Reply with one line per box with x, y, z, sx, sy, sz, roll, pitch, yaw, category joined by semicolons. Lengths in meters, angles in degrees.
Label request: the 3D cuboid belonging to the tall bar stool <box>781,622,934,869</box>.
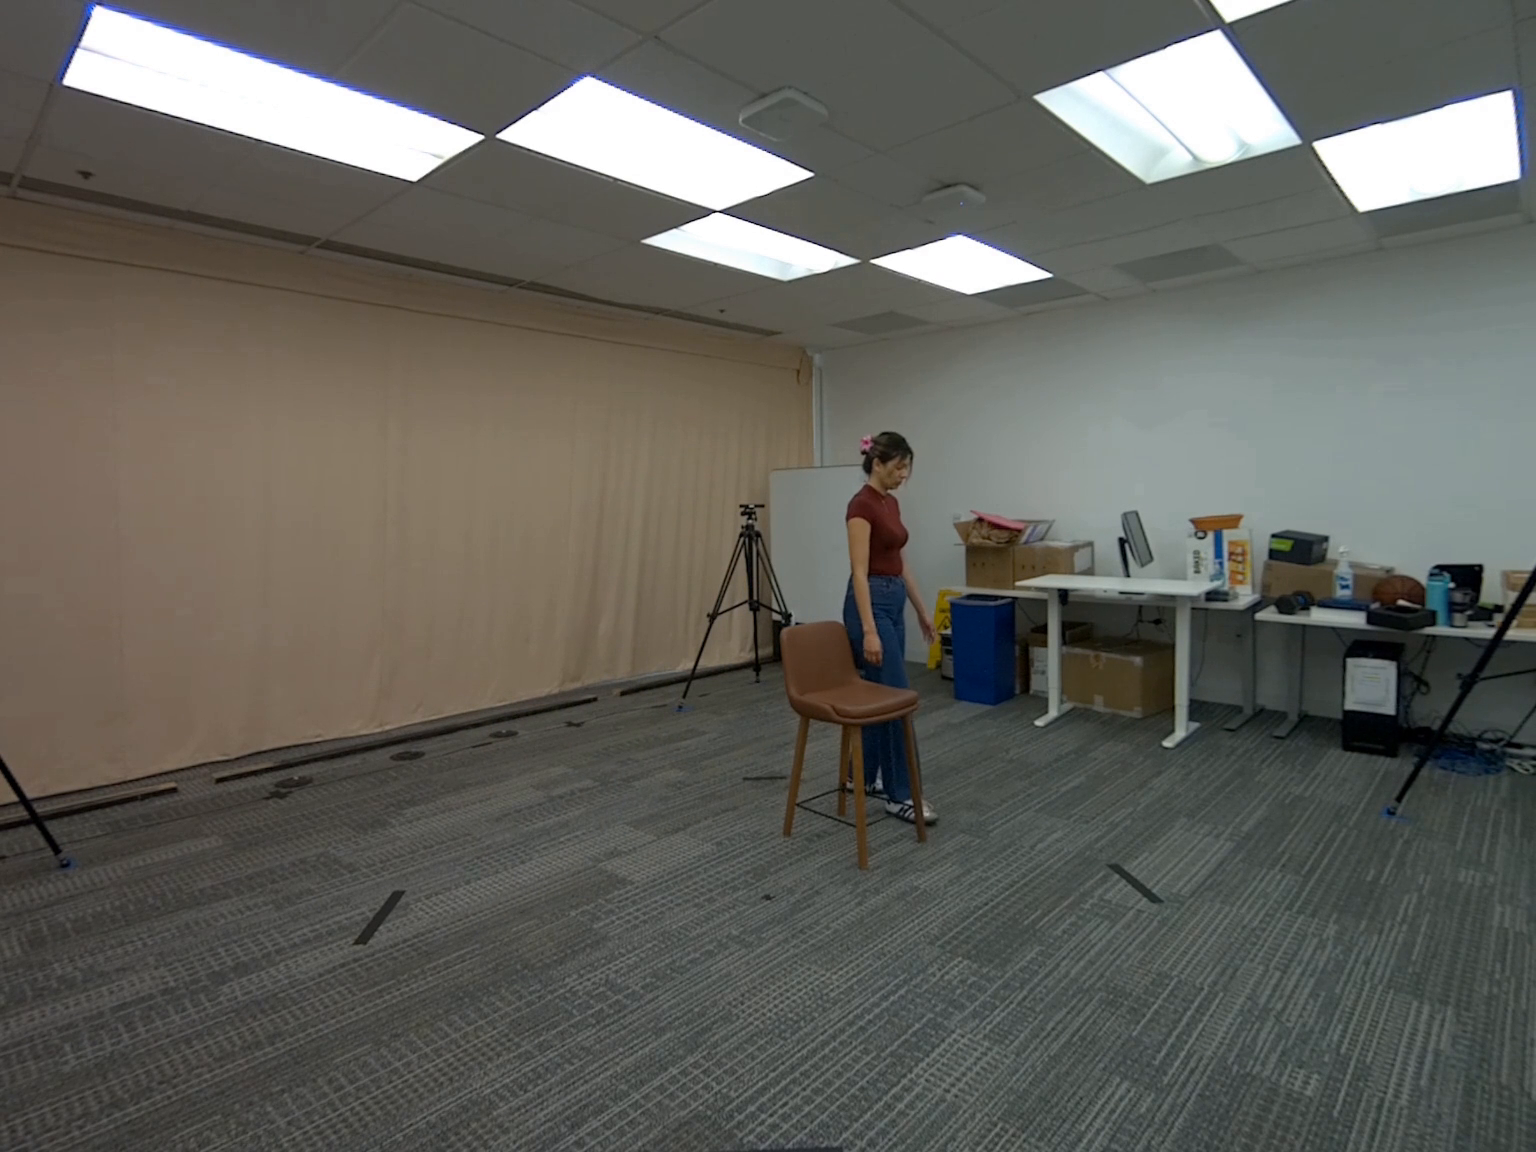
0.342;0.657;3.473;0.442;0.889;0.482;-3;2;-42;tall bar stool
